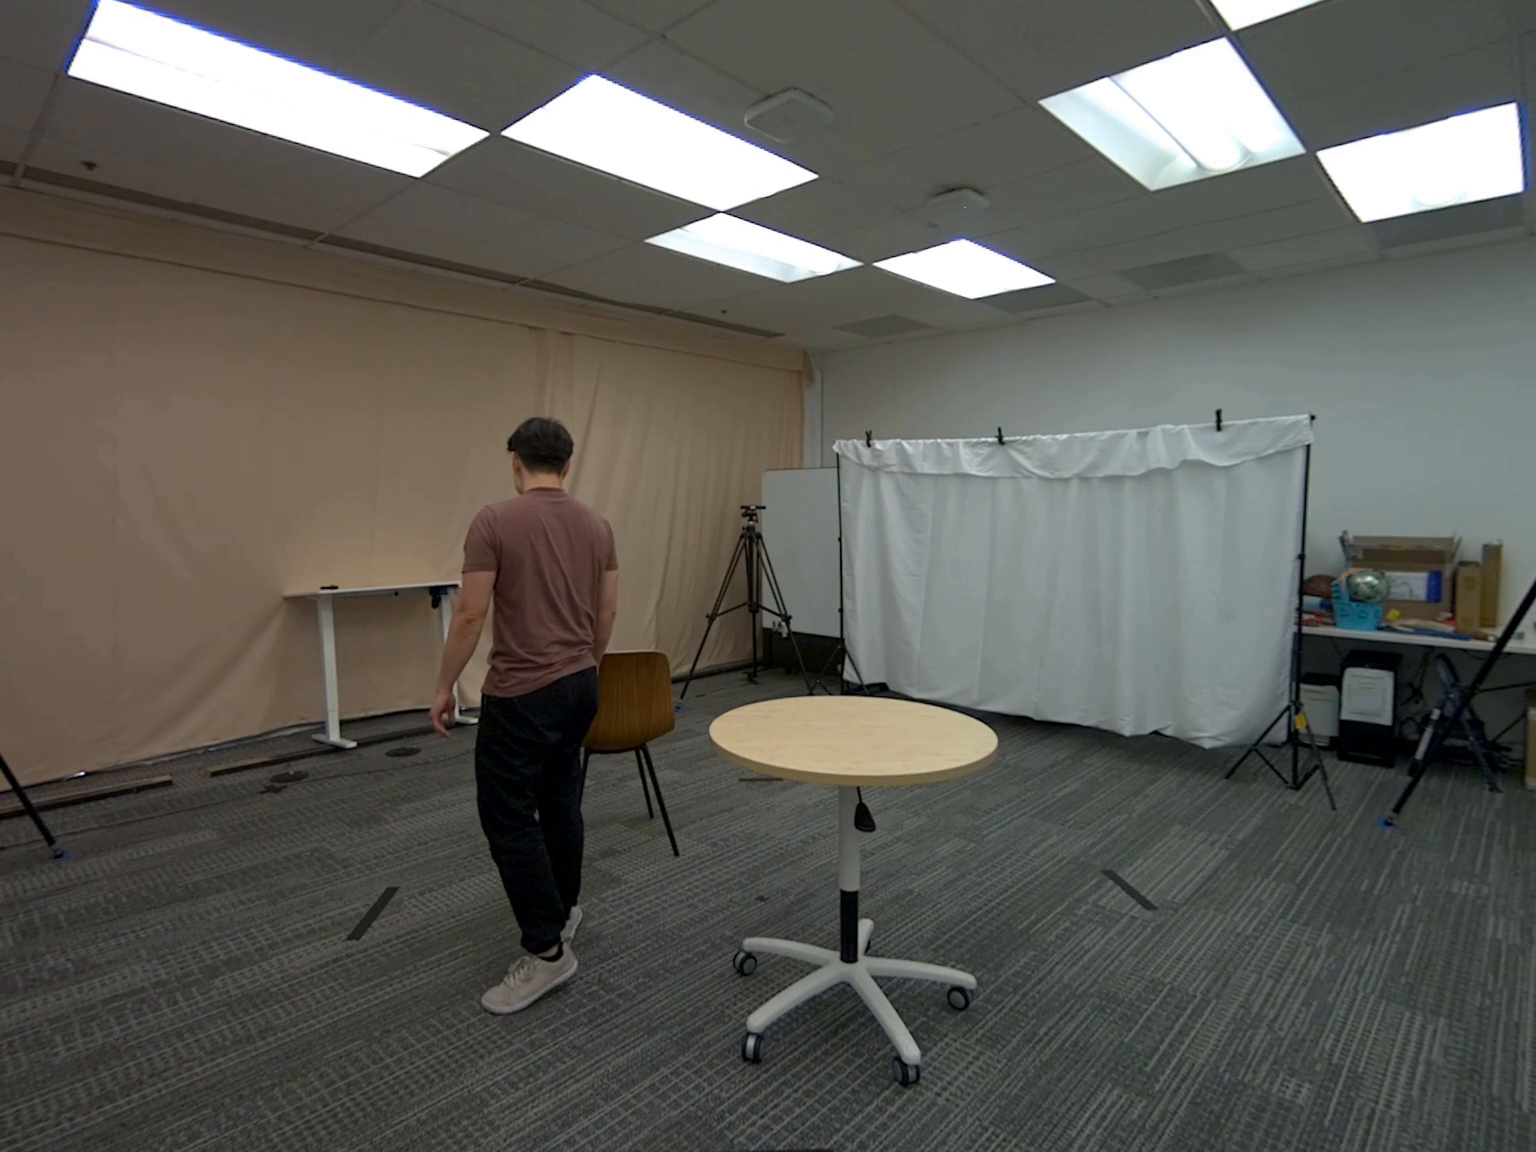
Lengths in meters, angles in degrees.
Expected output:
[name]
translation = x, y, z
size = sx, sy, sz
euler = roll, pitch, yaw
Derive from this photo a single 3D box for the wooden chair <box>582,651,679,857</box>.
[wooden chair]
translation = -0.645, 0.682, 3.479
size = 0.469, 0.874, 0.536
euler = -1, 7, -20
